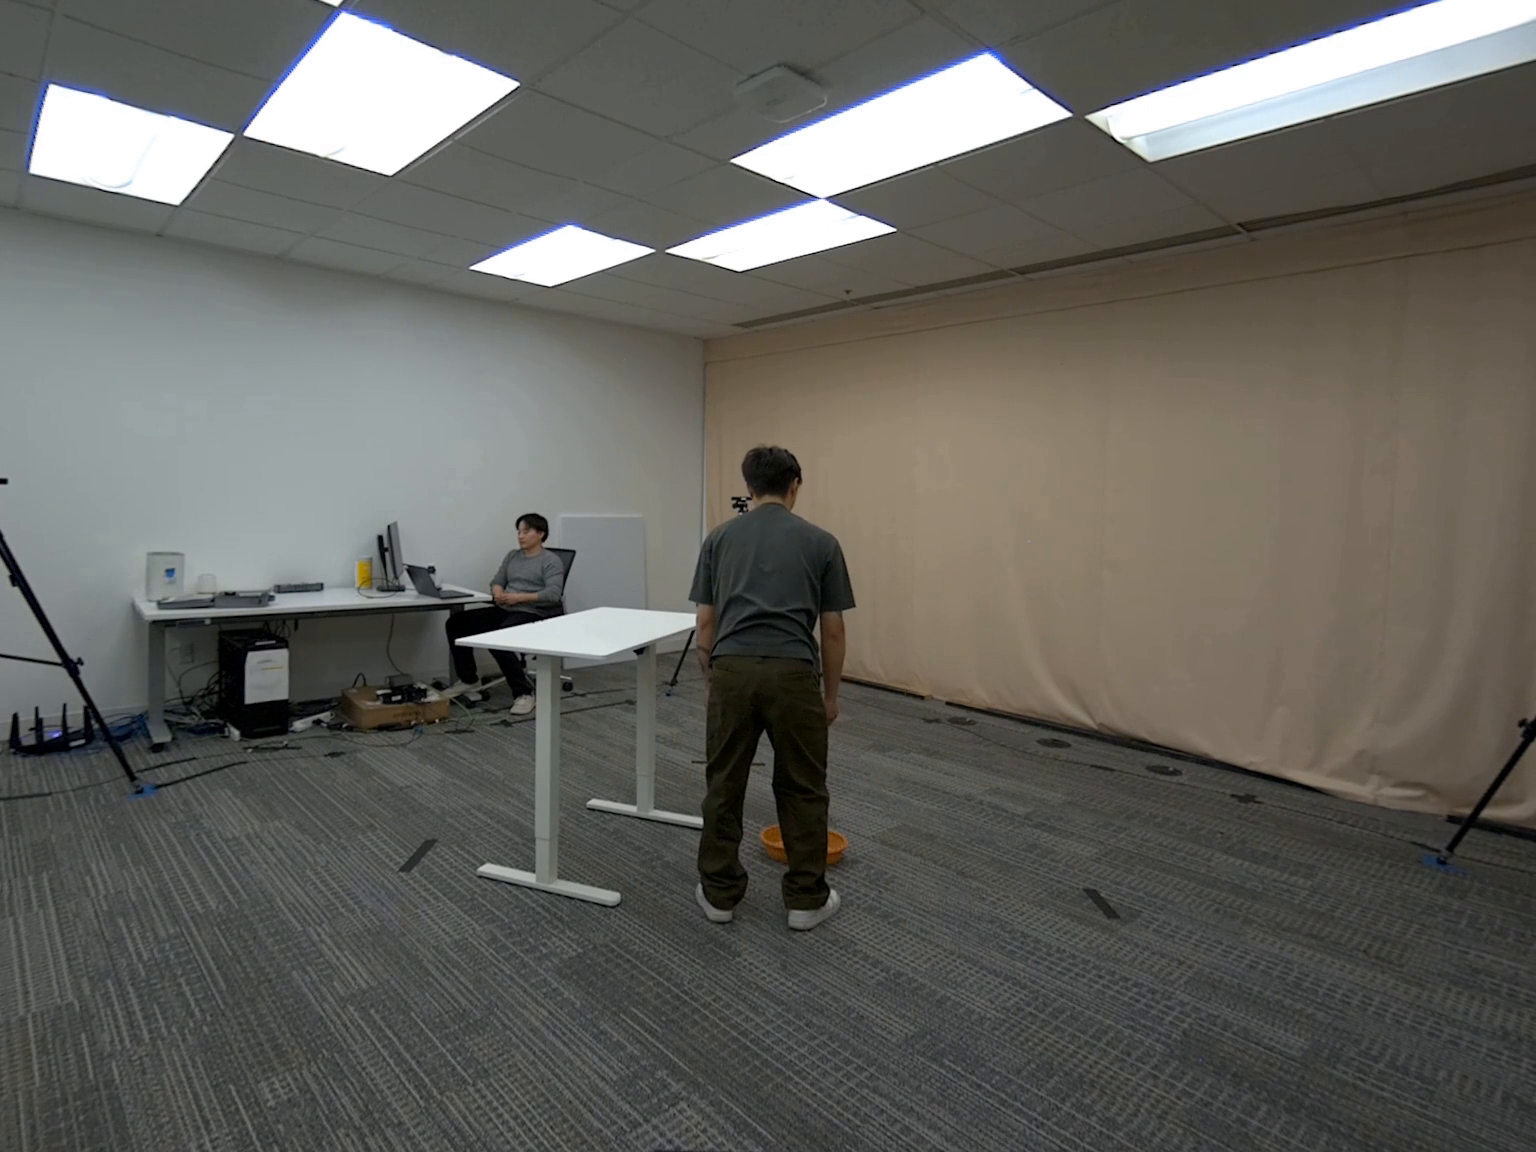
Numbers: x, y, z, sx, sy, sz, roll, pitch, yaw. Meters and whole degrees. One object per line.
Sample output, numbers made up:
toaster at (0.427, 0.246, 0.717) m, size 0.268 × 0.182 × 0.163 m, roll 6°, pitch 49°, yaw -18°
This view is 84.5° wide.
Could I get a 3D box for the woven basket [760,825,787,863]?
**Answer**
woven basket at (0.132, 1.060, 3.302) m, size 0.356 × 0.073 × 0.249 m, roll 3°, pitch 5°, yaw 19°
